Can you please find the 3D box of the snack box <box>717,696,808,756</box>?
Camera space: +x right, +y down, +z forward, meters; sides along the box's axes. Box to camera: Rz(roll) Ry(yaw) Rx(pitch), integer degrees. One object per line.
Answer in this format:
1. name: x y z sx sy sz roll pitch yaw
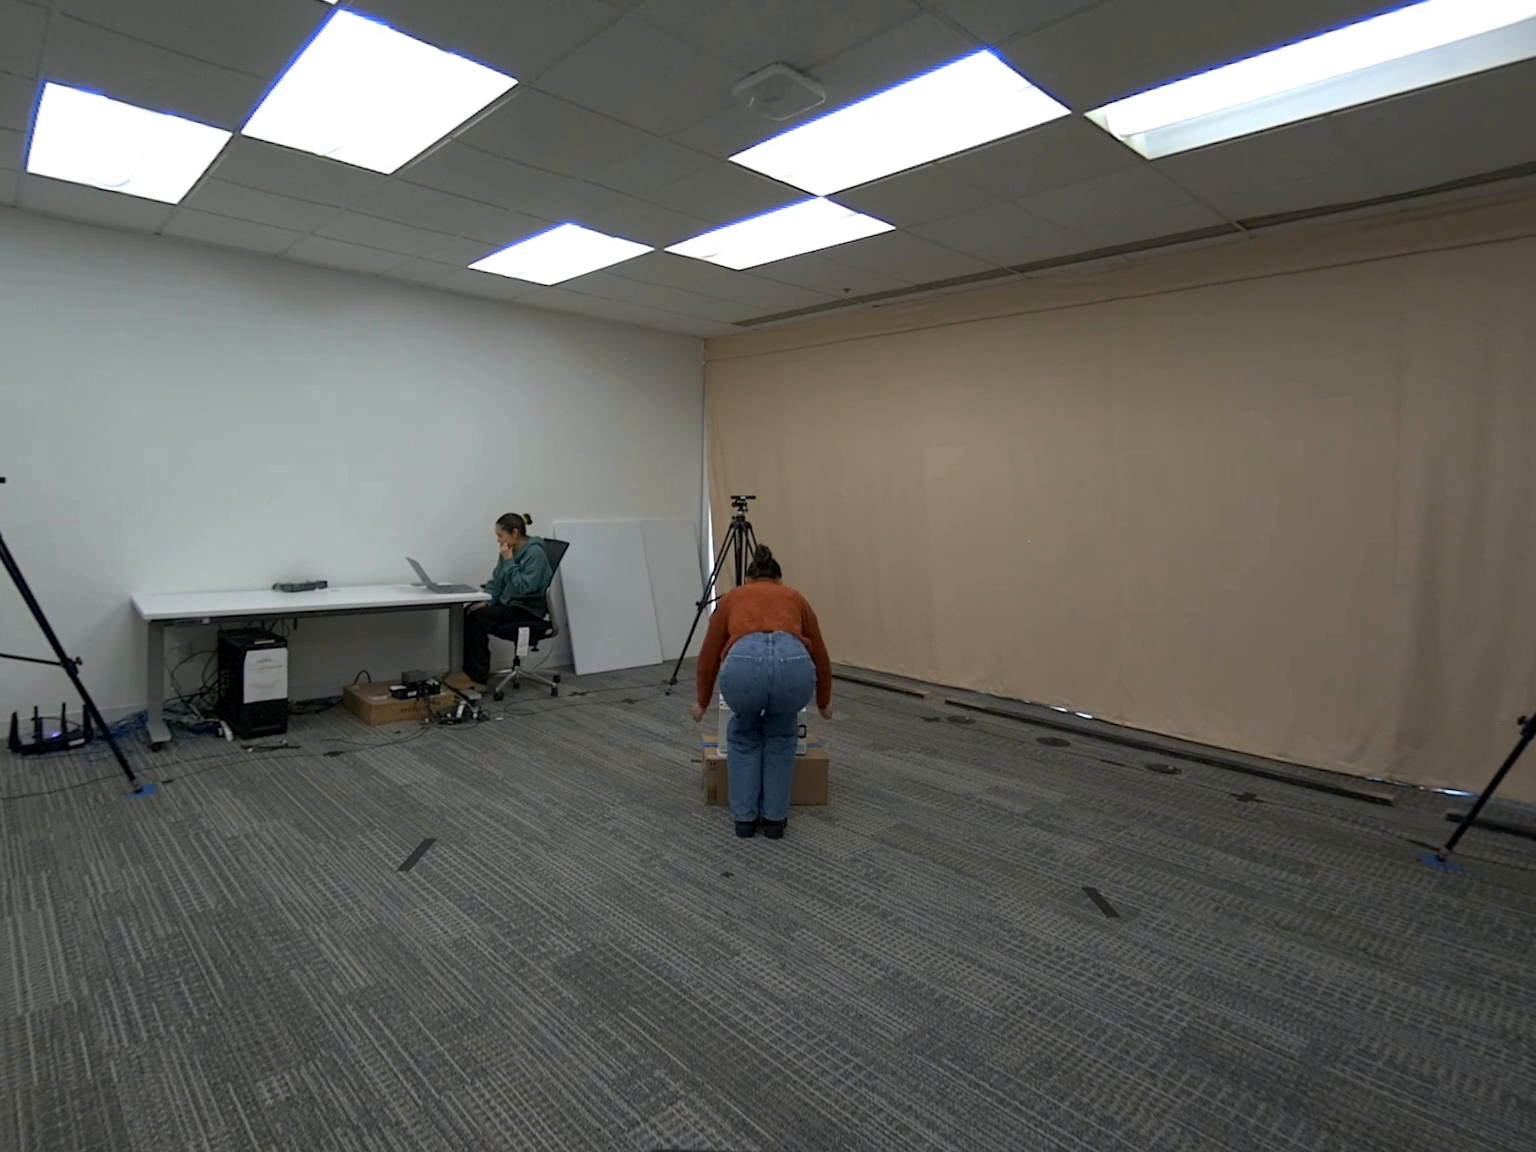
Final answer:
1. snack box: -0.039 0.709 4.037 0.404 0.205 0.341 2 2 -3
